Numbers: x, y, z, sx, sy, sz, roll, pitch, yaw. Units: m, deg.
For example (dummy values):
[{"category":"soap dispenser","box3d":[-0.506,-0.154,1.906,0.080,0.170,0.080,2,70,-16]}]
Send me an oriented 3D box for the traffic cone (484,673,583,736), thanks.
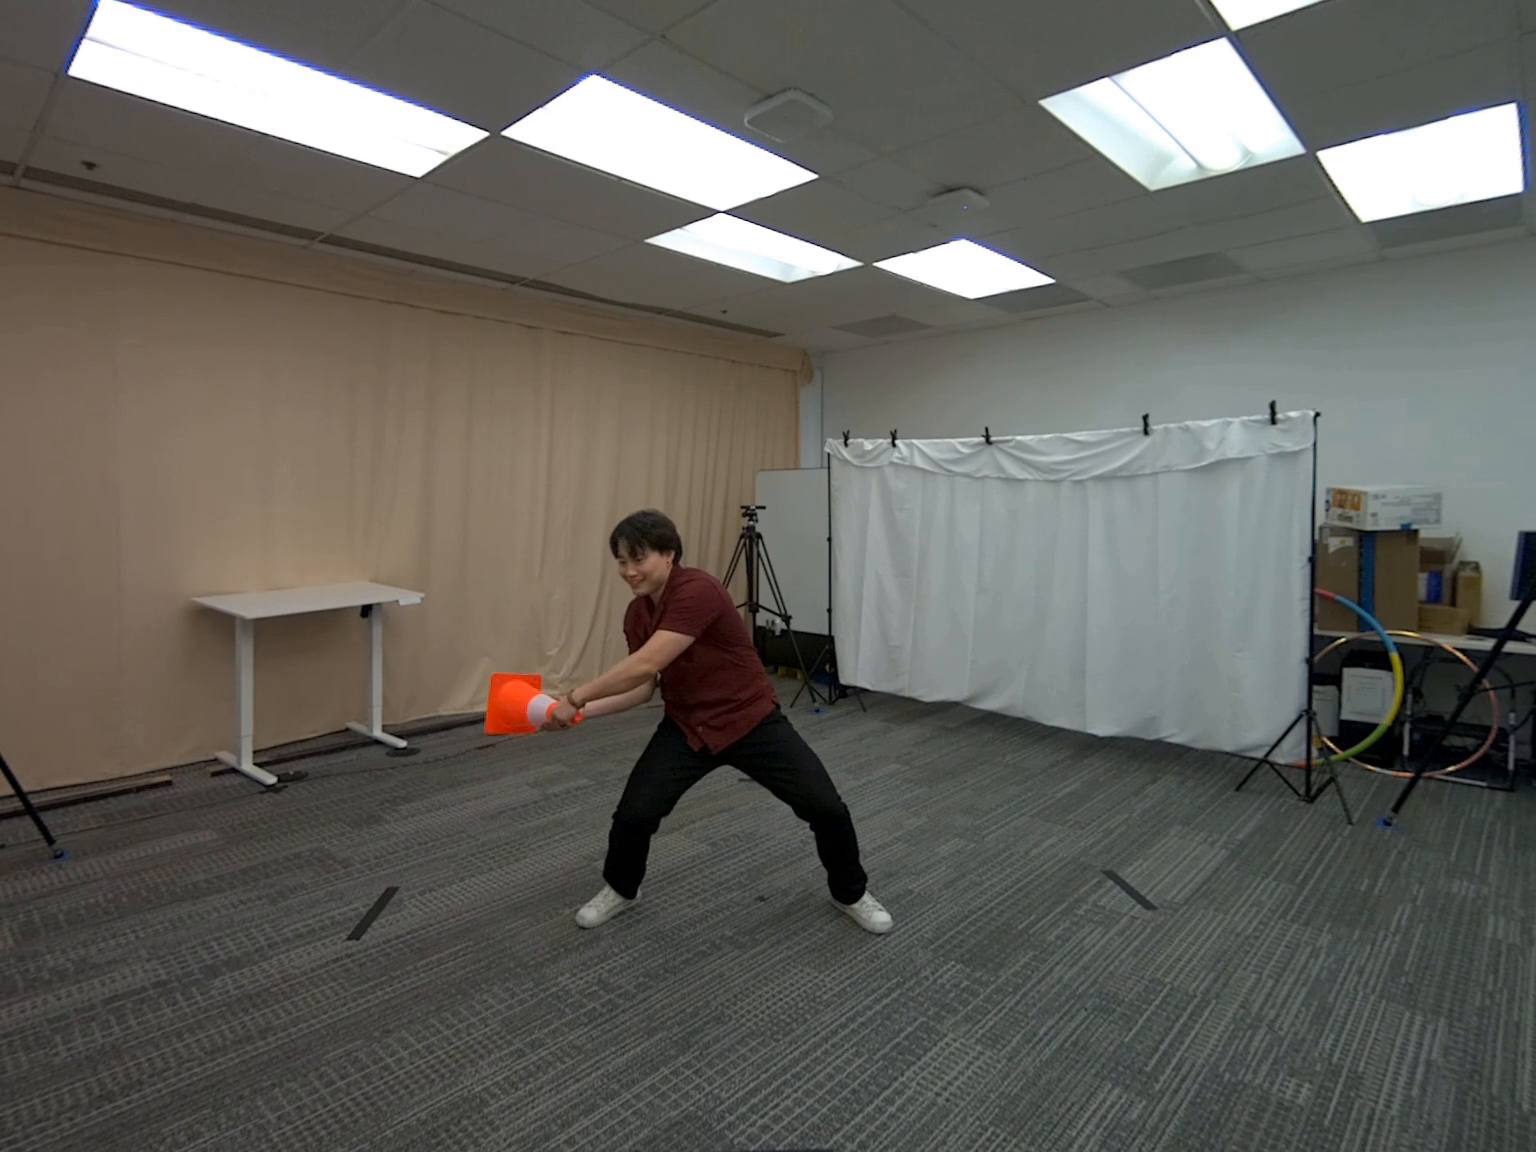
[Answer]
[{"category":"traffic cone","box3d":[-0.705,0.429,2.684,0.396,0.205,0.196,0,-7,44]}]
